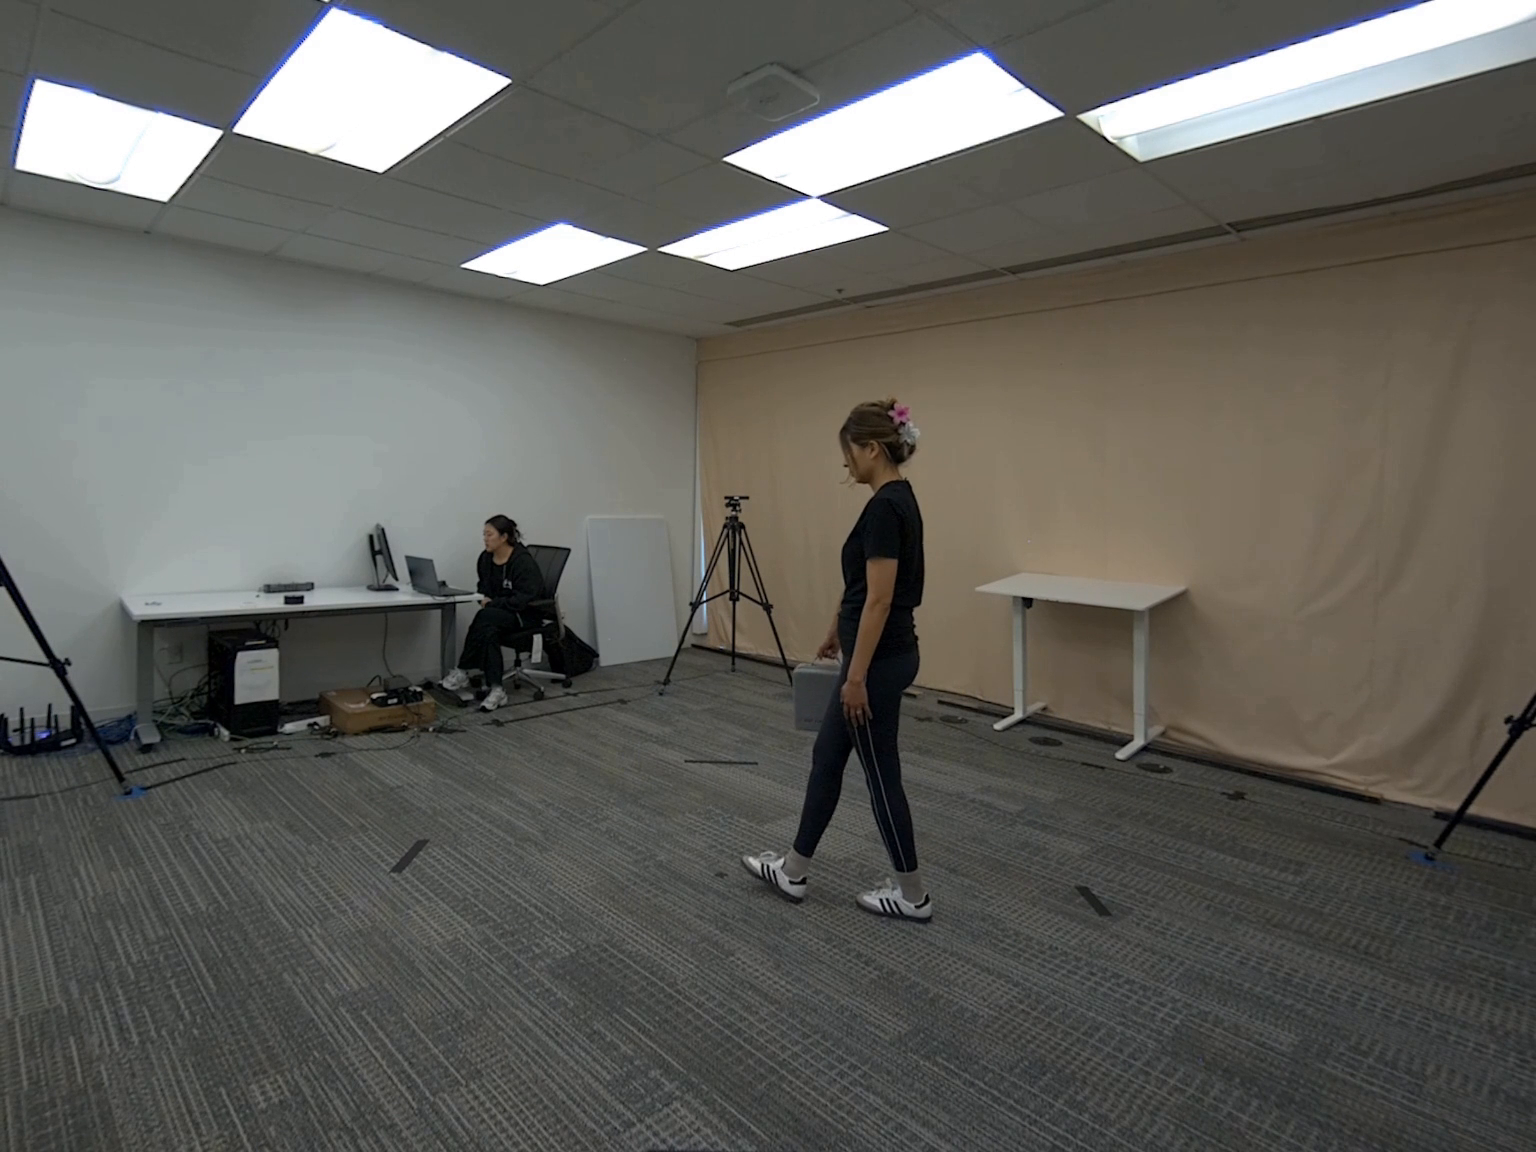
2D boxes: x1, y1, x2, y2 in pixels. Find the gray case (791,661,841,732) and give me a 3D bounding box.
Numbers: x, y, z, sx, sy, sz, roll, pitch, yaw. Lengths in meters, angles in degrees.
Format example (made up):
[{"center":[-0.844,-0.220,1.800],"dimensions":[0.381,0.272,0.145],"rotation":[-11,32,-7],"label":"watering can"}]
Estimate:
[{"center":[0.213,0.464,3.220],"dimensions":[0.261,0.258,0.103],"rotation":[3,11,21],"label":"gray case"}]
